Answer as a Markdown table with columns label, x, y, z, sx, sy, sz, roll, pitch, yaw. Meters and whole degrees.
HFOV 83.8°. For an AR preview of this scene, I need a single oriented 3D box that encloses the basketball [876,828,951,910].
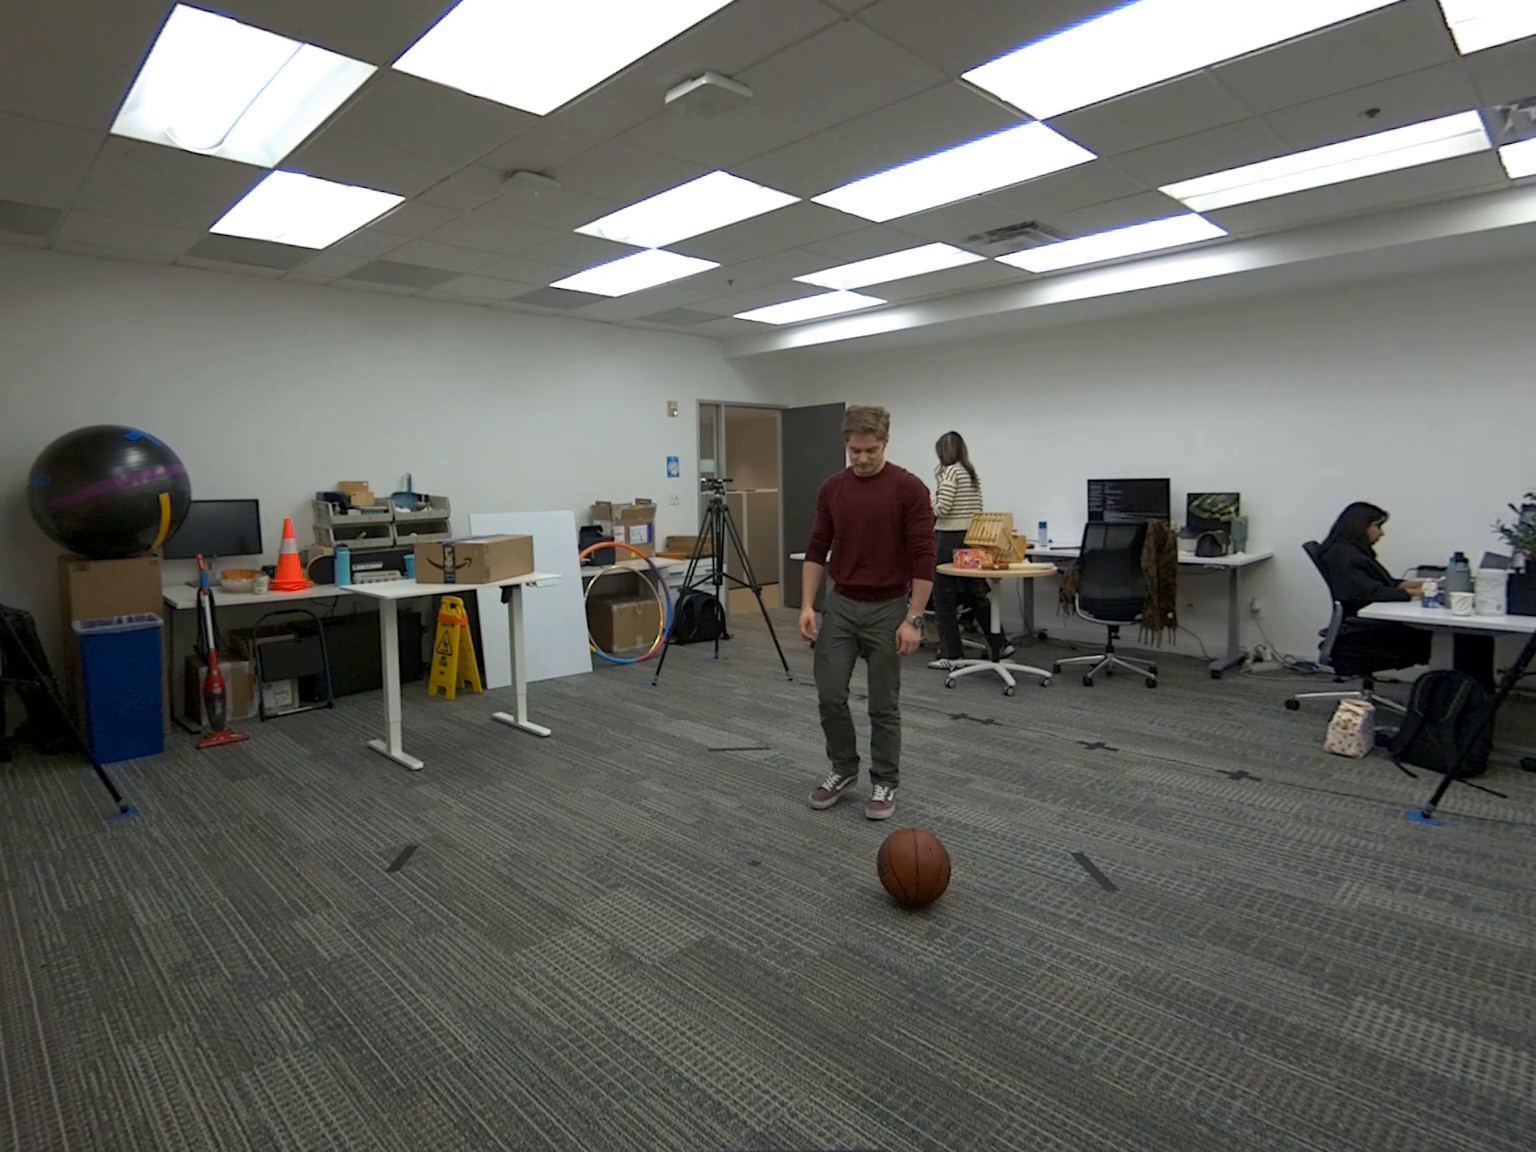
| label | x | y | z | sx | sy | sz | roll | pitch | yaw |
| --- | --- | --- | --- | --- | --- | --- | --- | --- | --- |
| basketball | 0.481 | 0.951 | 2.797 | 0.236 | 0.235 | 0.237 | -1 | 5 | -2 |
